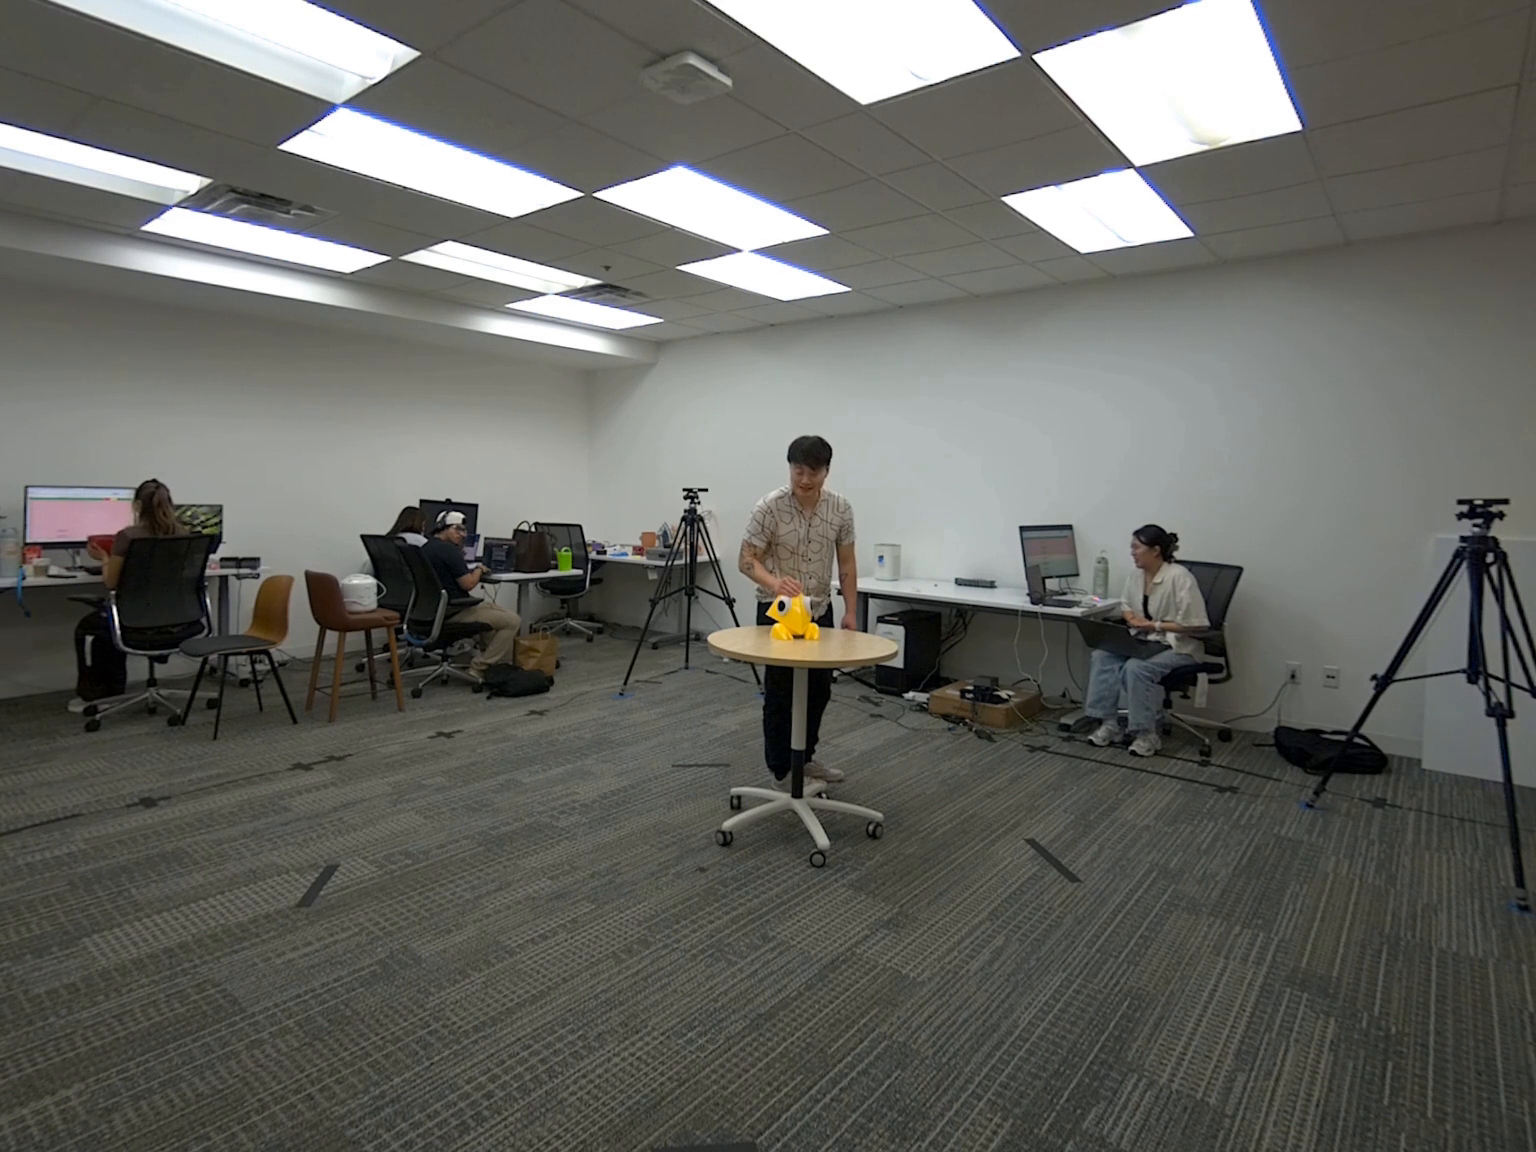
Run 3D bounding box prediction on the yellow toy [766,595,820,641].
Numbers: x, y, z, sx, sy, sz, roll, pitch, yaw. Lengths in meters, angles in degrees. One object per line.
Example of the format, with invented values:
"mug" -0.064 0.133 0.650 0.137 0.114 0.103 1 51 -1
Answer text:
"yellow toy" 0.111 0.134 3.559 0.201 0.230 0.197 1 5 -15
